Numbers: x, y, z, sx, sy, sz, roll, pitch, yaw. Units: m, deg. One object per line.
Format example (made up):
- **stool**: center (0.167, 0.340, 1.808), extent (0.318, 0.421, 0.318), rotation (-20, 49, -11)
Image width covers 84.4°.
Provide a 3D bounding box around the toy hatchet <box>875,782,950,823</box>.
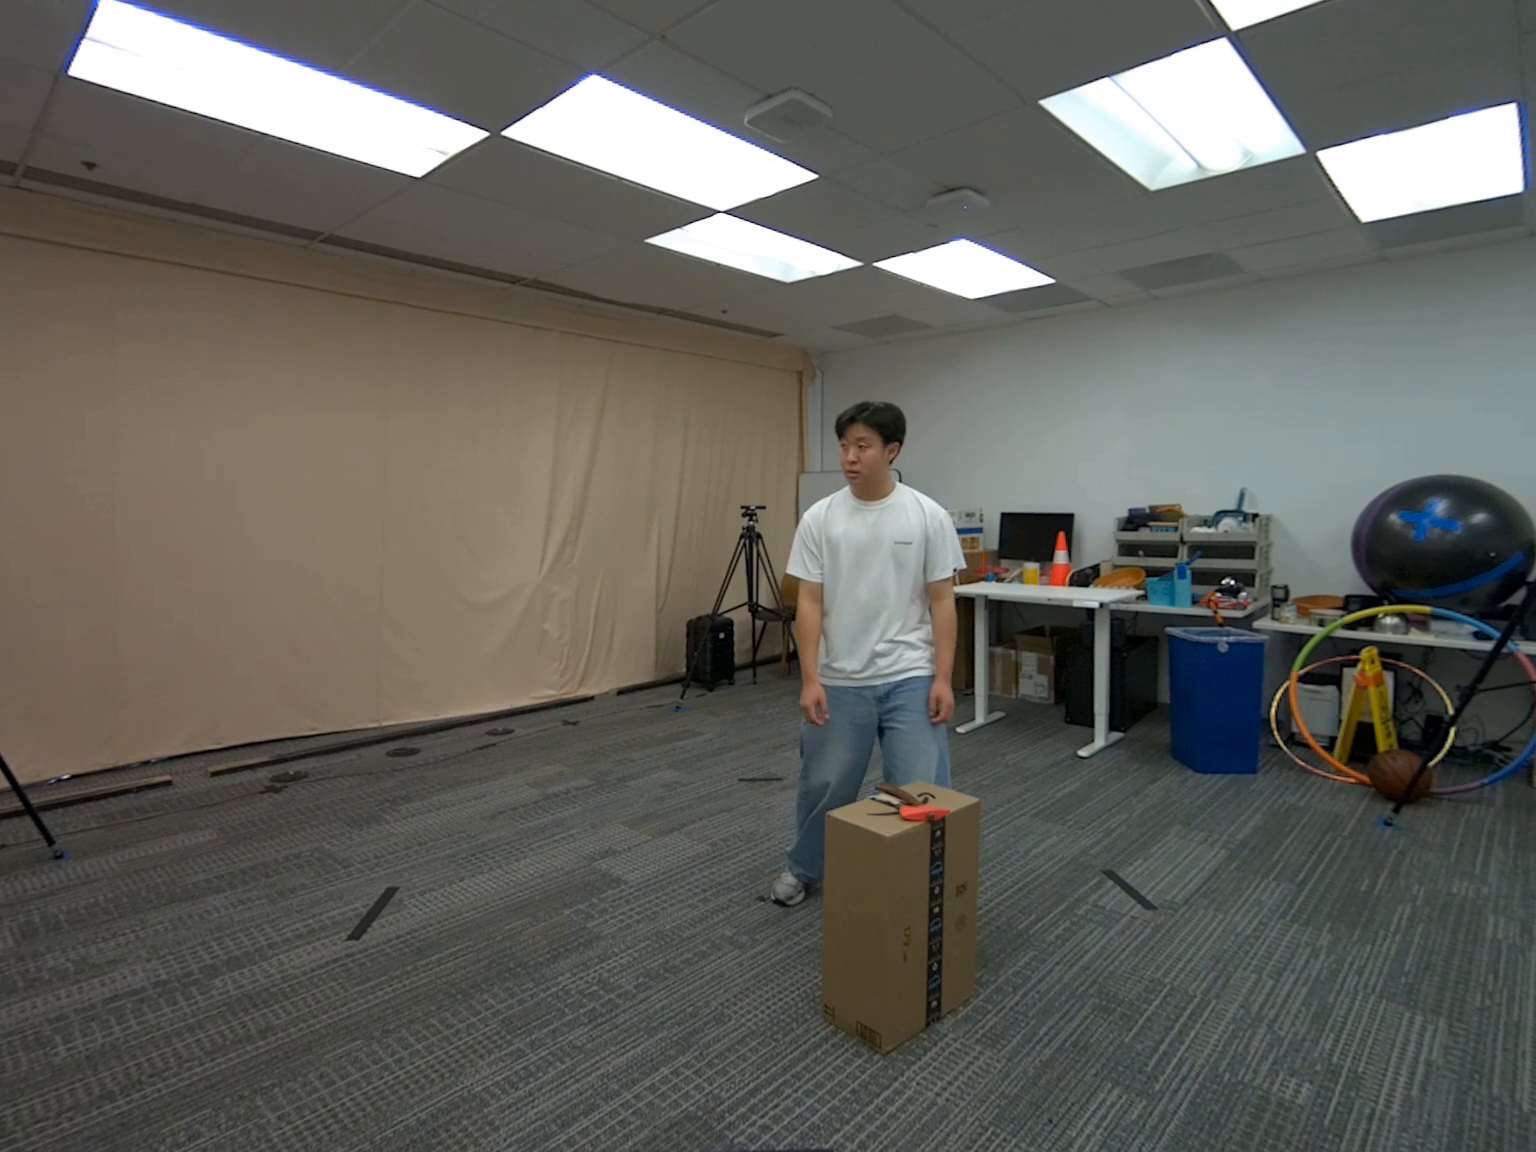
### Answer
- **toy hatchet**: center (0.360, 0.618, 2.317), extent (0.127, 0.029, 0.278), rotation (-7, 7, -32)
